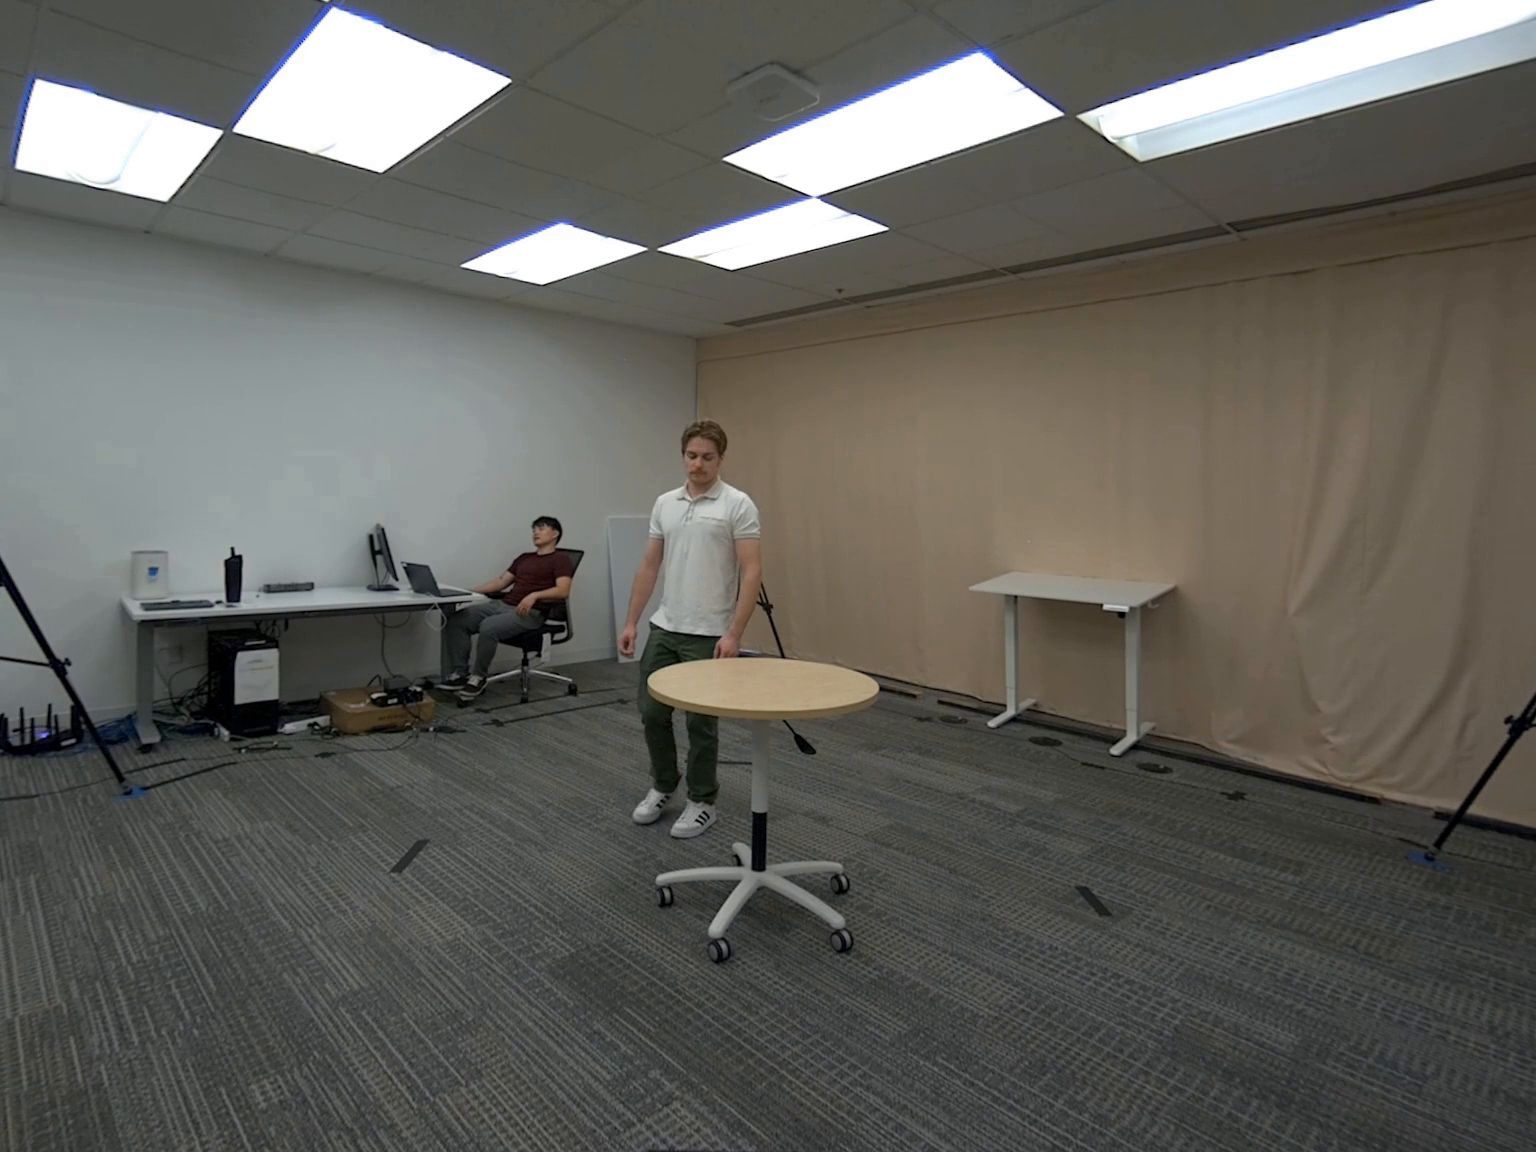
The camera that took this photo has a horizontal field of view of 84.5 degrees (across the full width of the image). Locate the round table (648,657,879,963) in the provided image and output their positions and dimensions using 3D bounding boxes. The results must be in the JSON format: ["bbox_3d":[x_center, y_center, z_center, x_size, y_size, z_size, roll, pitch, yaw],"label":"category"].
[{"bbox_3d":[-0.029,0.745,2.824,0.763,0.791,0.767,1,5,-1],"label":"round table"}]
